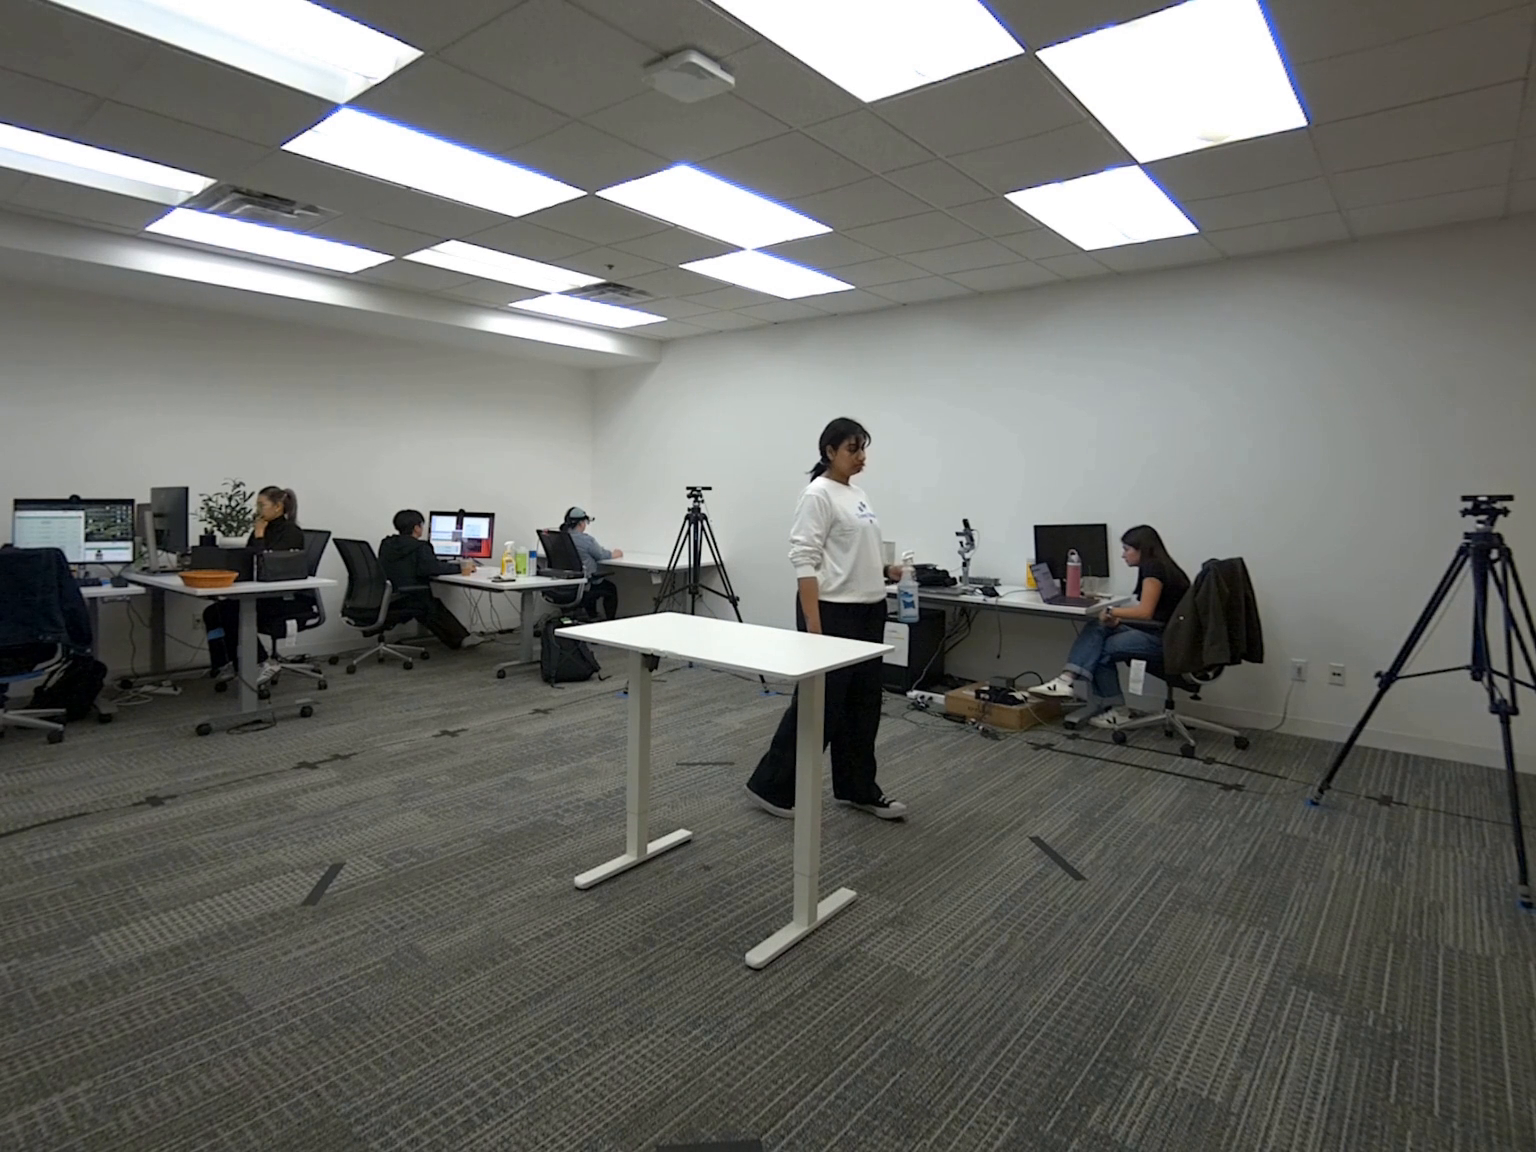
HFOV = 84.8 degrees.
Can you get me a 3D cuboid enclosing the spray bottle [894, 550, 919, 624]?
[{"bbox_3d":[0.591,0.049,3.603,0.088,0.296,0.089,-1,3,-21],"label":"spray bottle"}]
